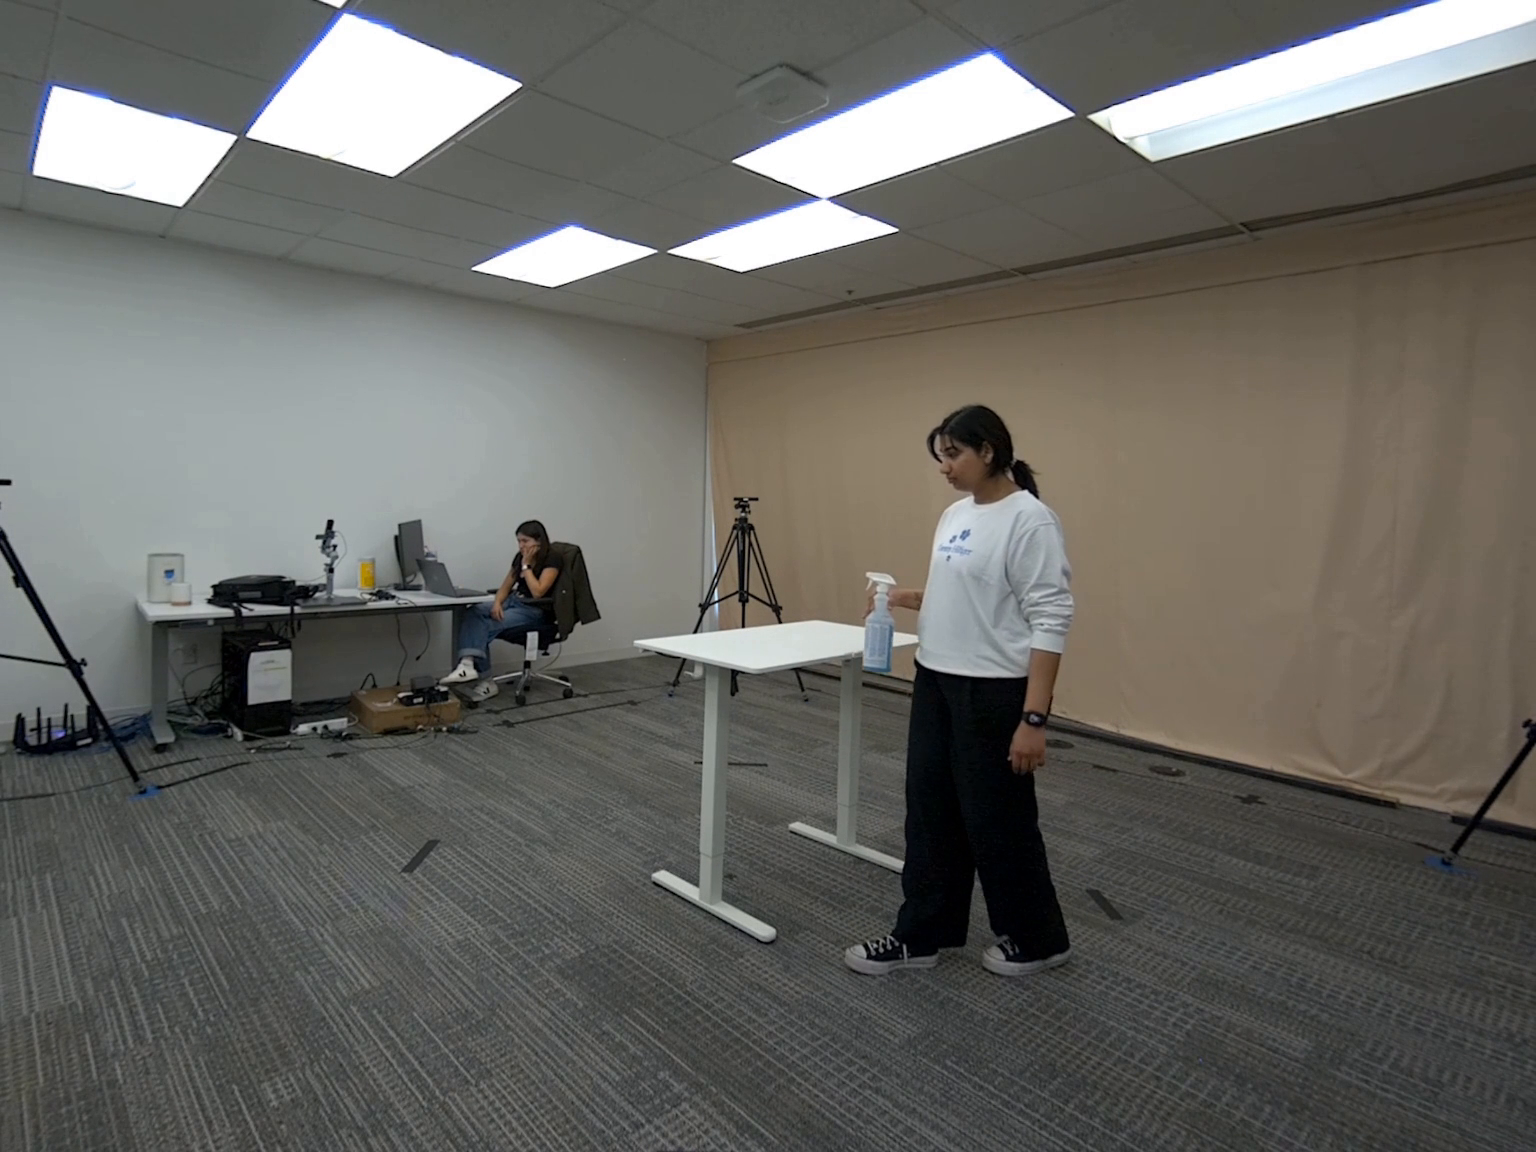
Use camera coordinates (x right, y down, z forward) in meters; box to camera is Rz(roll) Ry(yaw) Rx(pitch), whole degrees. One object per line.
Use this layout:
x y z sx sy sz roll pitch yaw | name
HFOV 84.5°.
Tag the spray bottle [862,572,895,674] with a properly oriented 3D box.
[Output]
0.337 0.142 2.549 0.092 0.298 0.085 2 -4 44 | spray bottle
